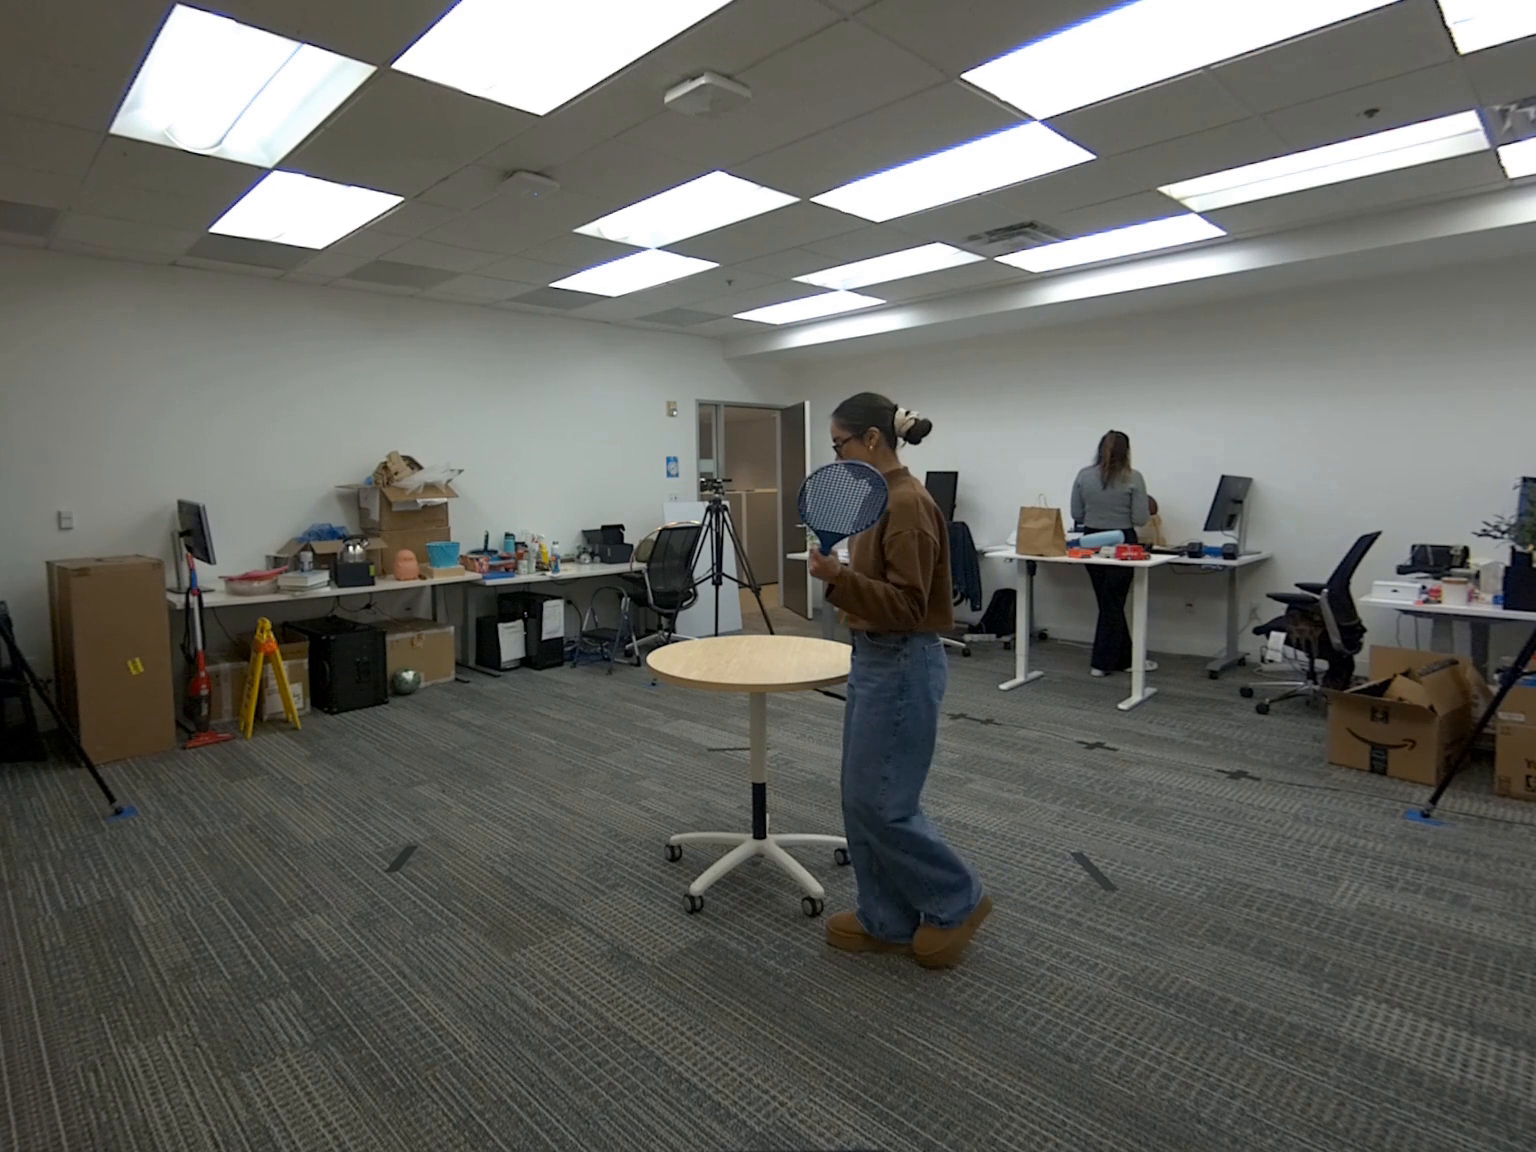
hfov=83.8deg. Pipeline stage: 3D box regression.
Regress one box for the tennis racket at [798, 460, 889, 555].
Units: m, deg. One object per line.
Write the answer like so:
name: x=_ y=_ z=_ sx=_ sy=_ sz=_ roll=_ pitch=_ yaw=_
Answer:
tennis racket: x=0.178 y=-0.128 z=2.104 sx=0.213 sy=0.032 sz=0.424 roll=8 pitch=-39 yaw=-3
